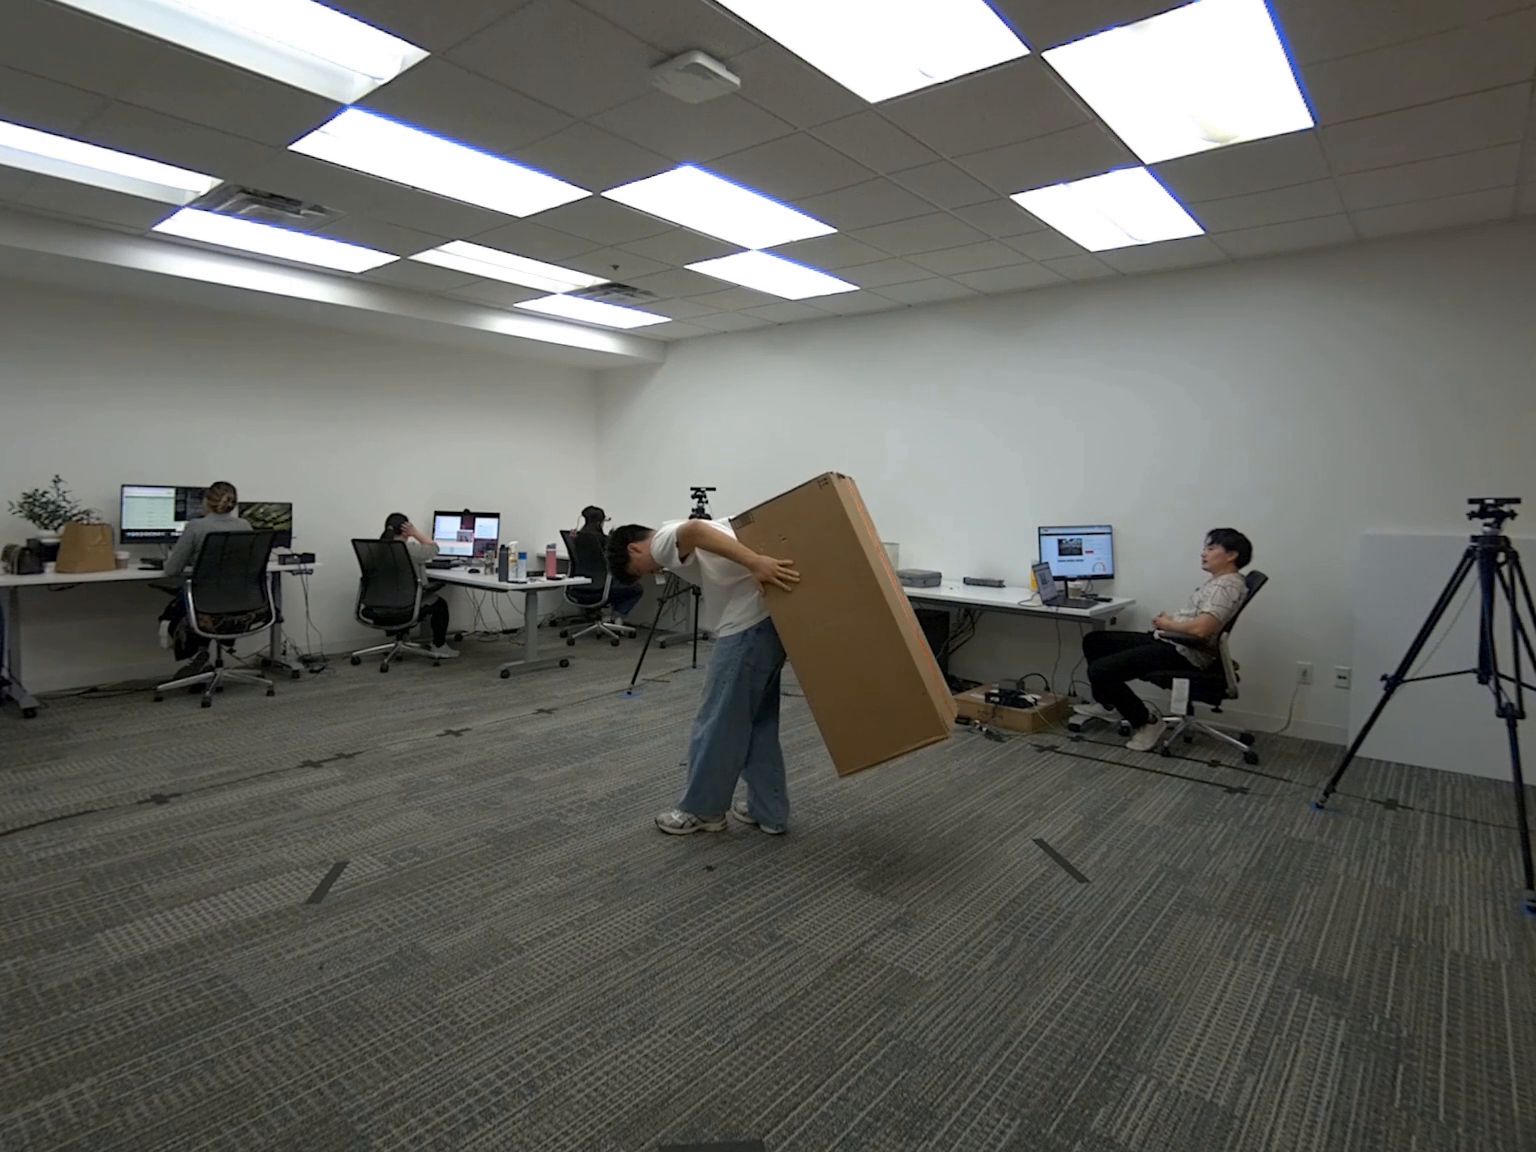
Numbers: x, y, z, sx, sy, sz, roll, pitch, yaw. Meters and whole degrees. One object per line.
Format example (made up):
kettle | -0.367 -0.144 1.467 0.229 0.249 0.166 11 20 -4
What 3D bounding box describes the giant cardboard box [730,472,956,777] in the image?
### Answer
giant cardboard box | 0.303 0.157 3.314 0.430 1.036 0.567 -25 -7 15
